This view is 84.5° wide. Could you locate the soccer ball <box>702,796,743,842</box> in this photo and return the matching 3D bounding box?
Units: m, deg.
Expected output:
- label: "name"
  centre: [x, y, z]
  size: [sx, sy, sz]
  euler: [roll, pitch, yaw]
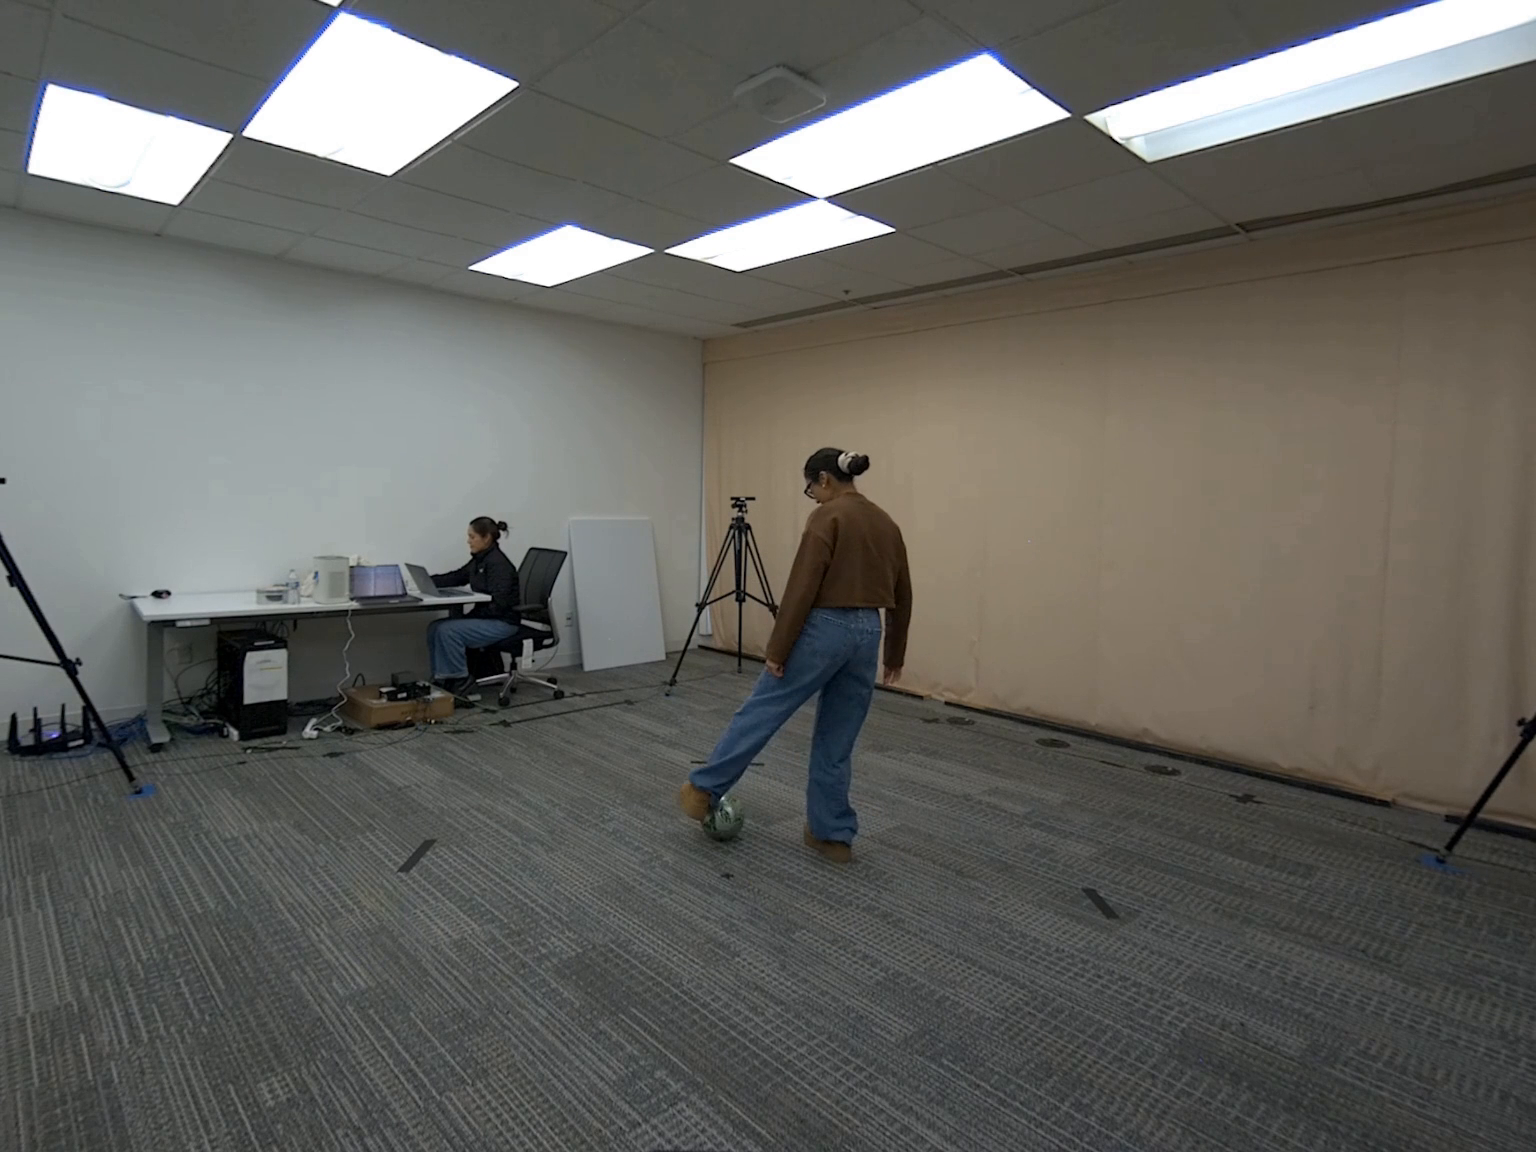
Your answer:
- label: "soccer ball"
  centre: [-0.176, 0.981, 3.444]
  size: [0.187, 0.187, 0.188]
  euler: [1, 4, -1]
